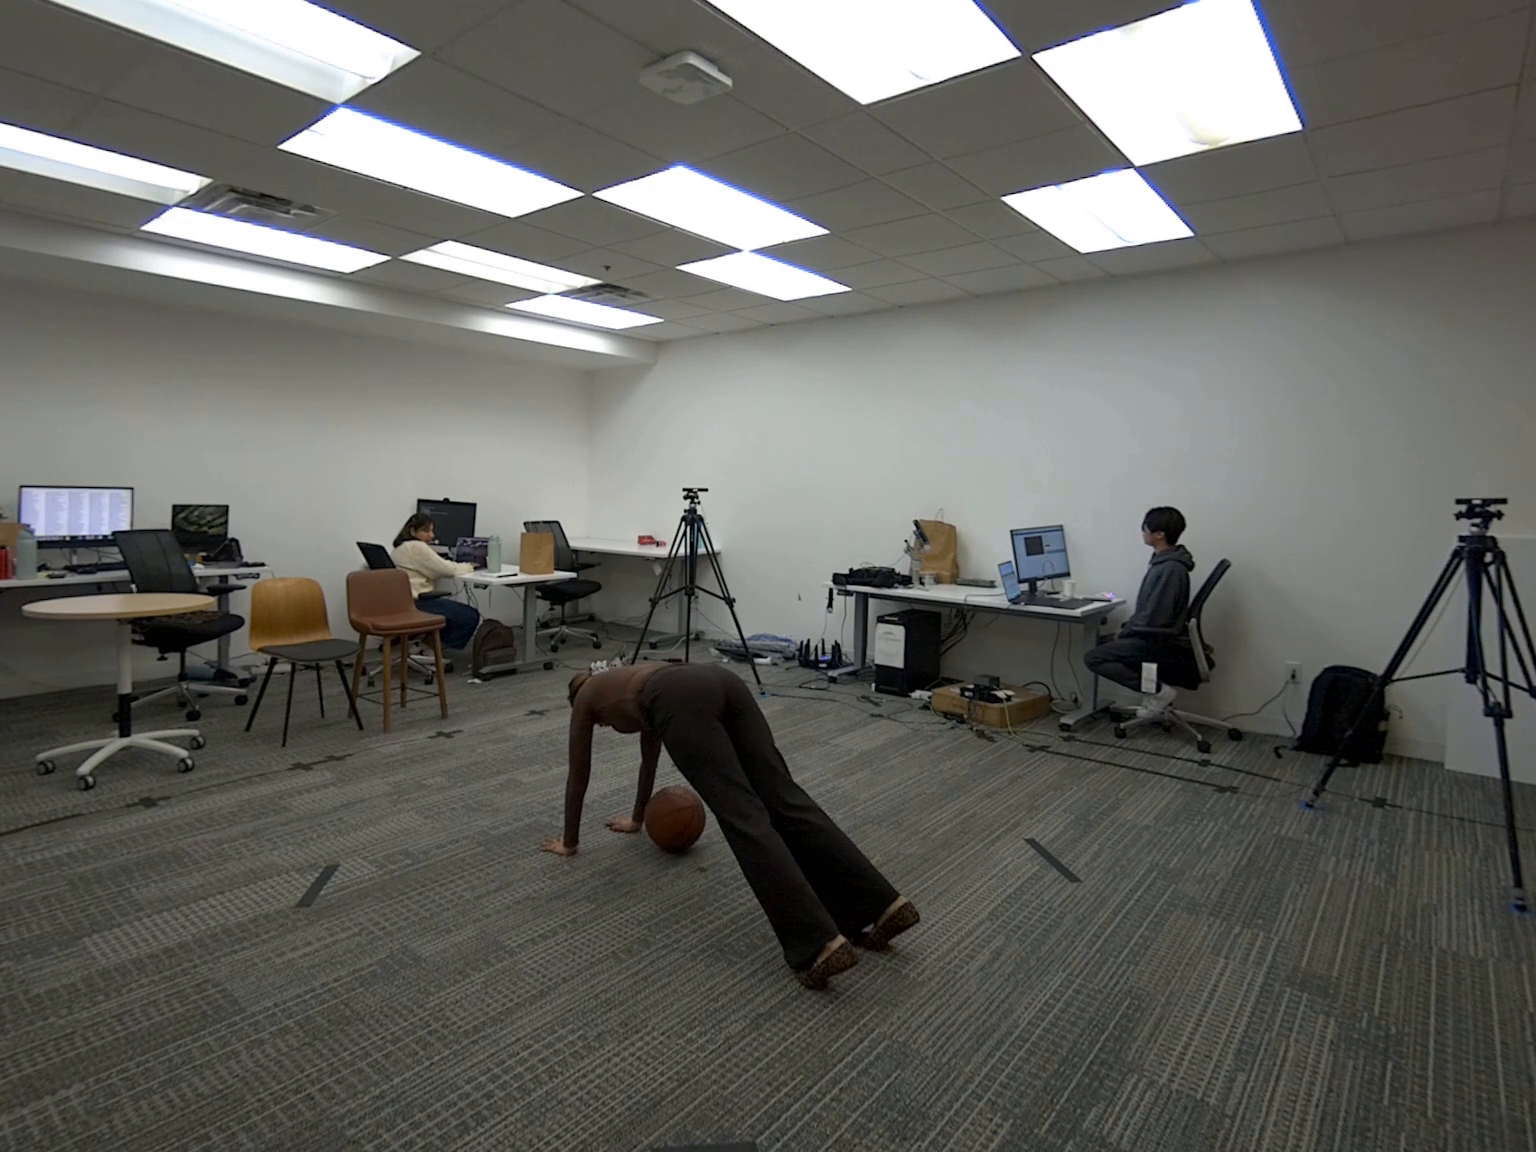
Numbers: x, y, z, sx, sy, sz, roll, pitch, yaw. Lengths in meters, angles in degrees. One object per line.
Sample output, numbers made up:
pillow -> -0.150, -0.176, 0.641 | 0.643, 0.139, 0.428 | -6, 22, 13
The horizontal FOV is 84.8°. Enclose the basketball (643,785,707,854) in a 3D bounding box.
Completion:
basketball -> -0.369, 0.930, 3.281 | 0.236, 0.235, 0.237 | 1, 4, -2
